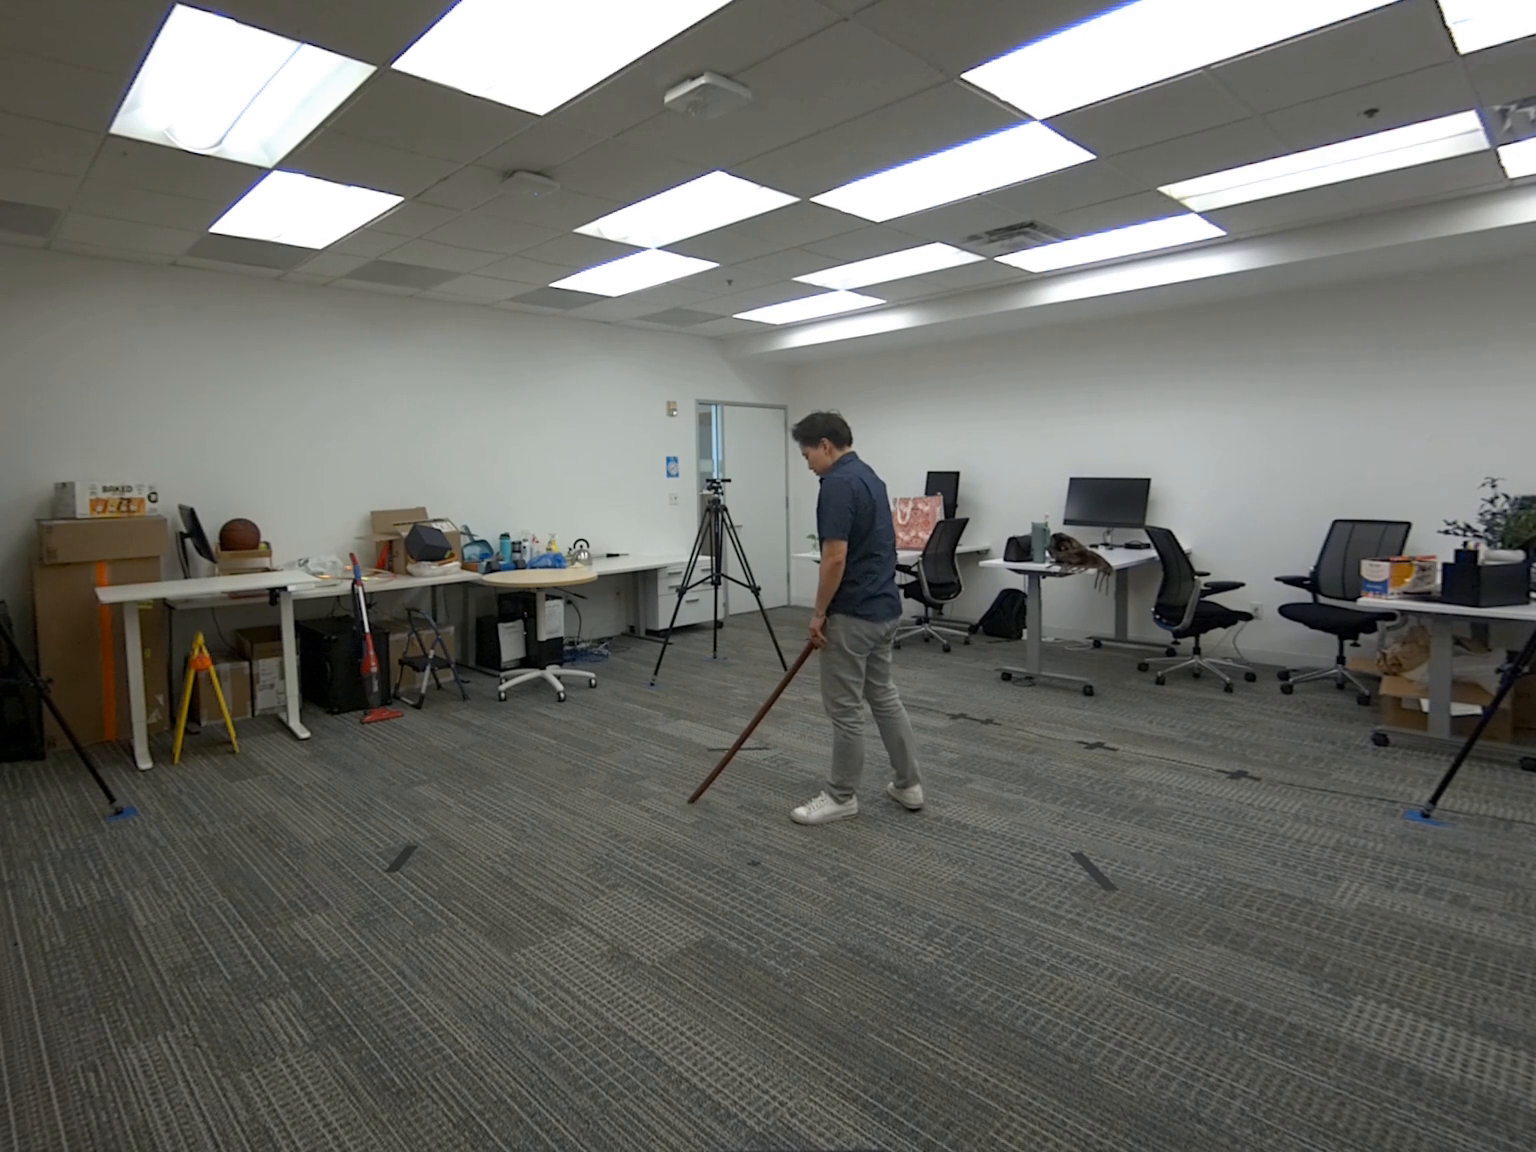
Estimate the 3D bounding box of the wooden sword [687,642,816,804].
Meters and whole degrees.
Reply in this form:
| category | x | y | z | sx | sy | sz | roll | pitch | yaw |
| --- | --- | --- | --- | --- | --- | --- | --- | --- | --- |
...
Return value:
| category | x | y | z | sx | sy | sz | roll | pitch | yaw |
| --- | --- | --- | --- | --- | --- | --- | --- | --- | --- |
| wooden sword | -0.032 | 0.593 | 3.701 | 0.049 | 1.025 | 0.025 | 38 | -1 | -30 |
